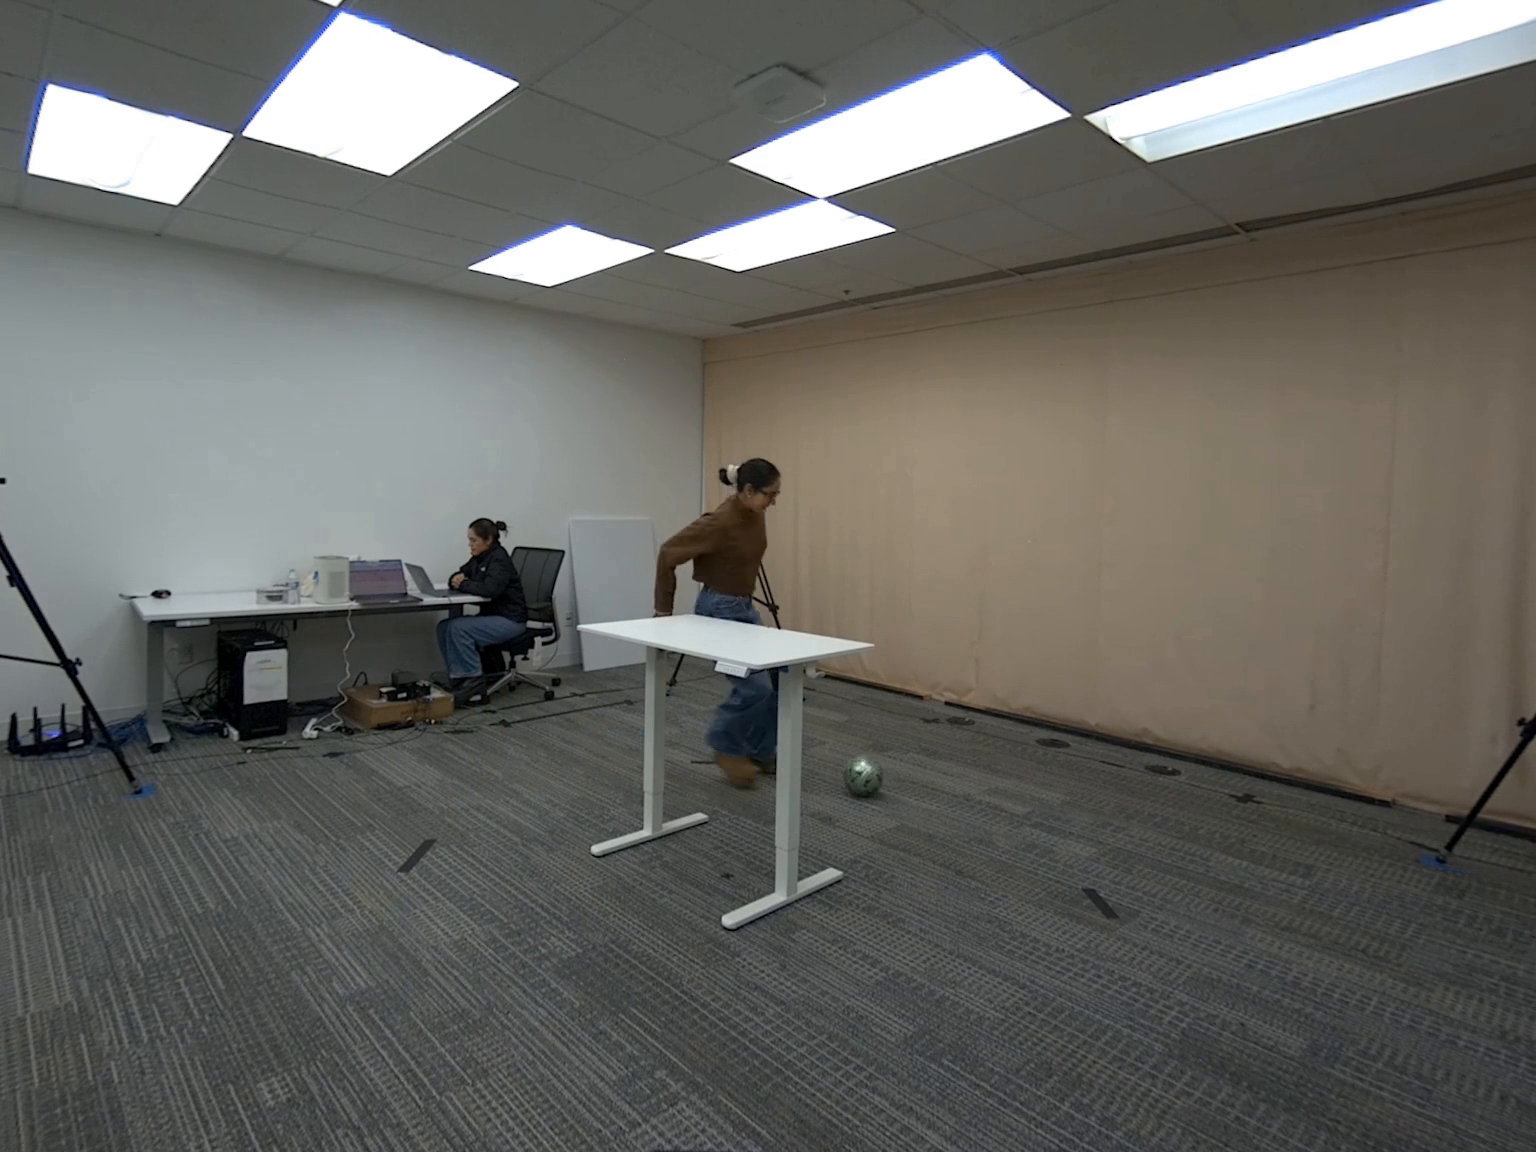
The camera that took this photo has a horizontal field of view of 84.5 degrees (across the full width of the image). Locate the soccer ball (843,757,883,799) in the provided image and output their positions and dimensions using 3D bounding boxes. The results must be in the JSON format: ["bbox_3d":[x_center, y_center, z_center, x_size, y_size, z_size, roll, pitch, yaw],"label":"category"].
[{"bbox_3d":[0.440,0.952,4.007,0.187,0.187,0.188,1,4,-1],"label":"soccer ball"}]
